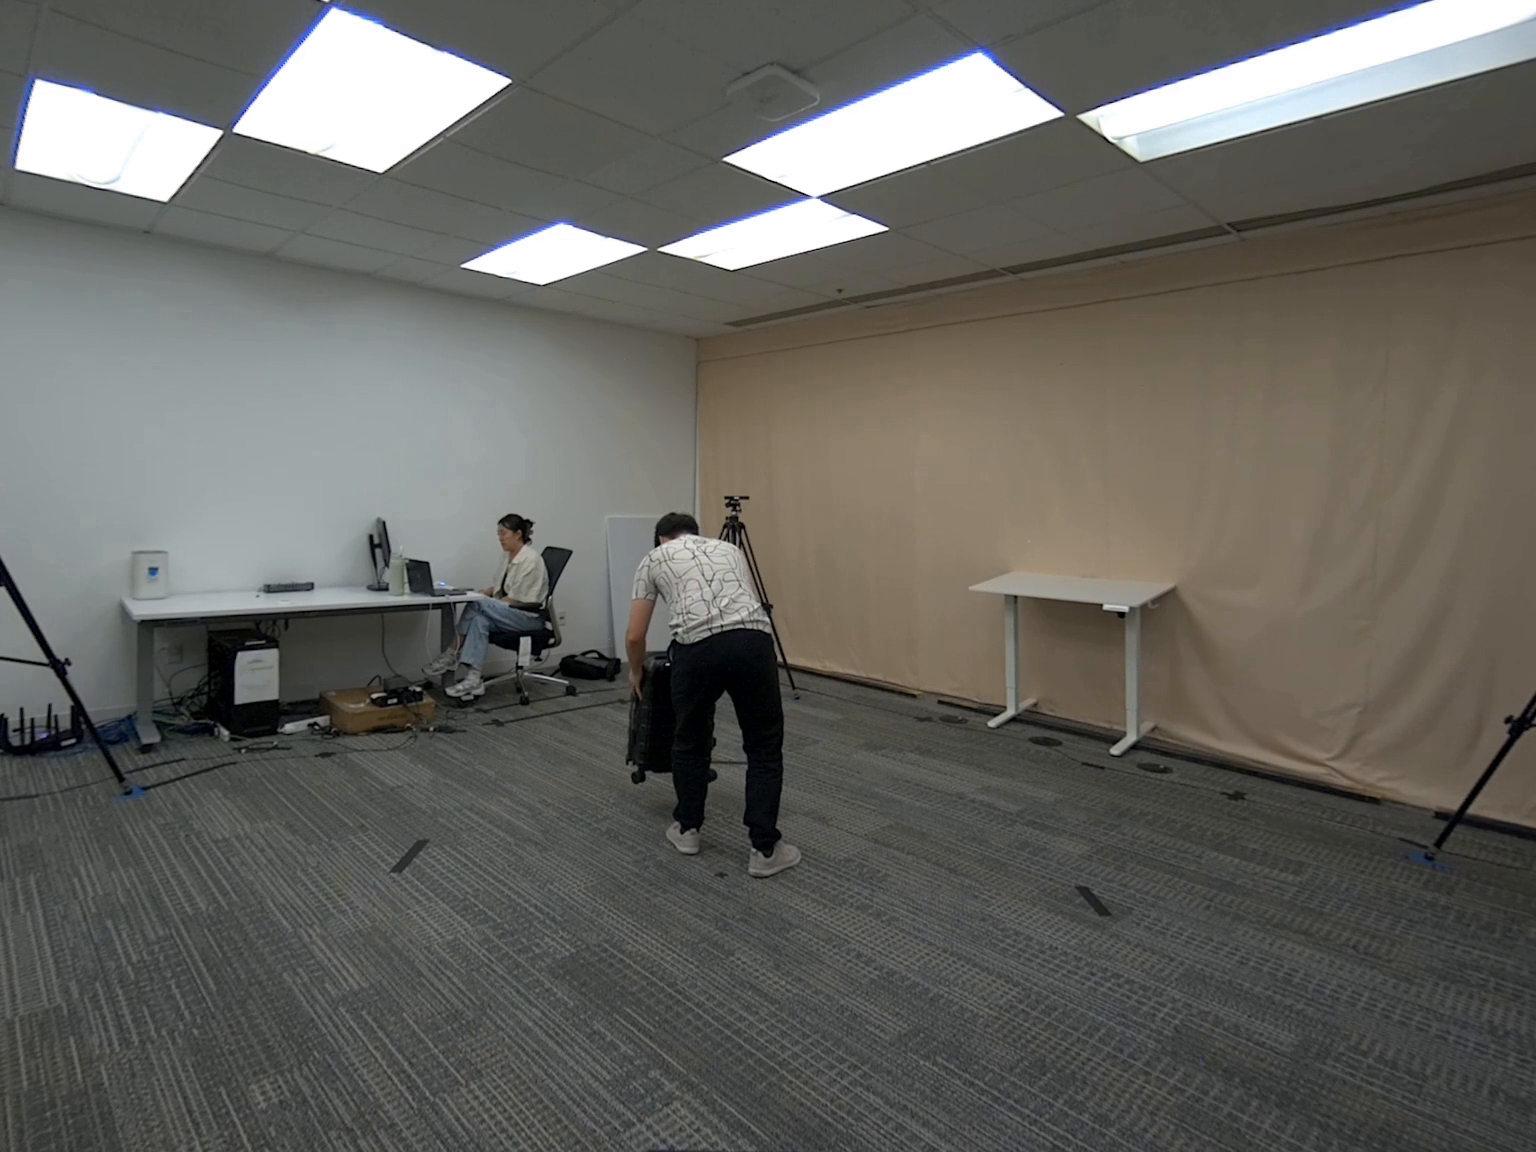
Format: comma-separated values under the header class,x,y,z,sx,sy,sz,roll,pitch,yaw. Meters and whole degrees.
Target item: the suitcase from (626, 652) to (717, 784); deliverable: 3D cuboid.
class,x,y,z,sx,sy,sz,roll,pitch,yaw
suitcase,-0.427,0.603,3.708,0.370,0.546,0.253,2,8,-20
